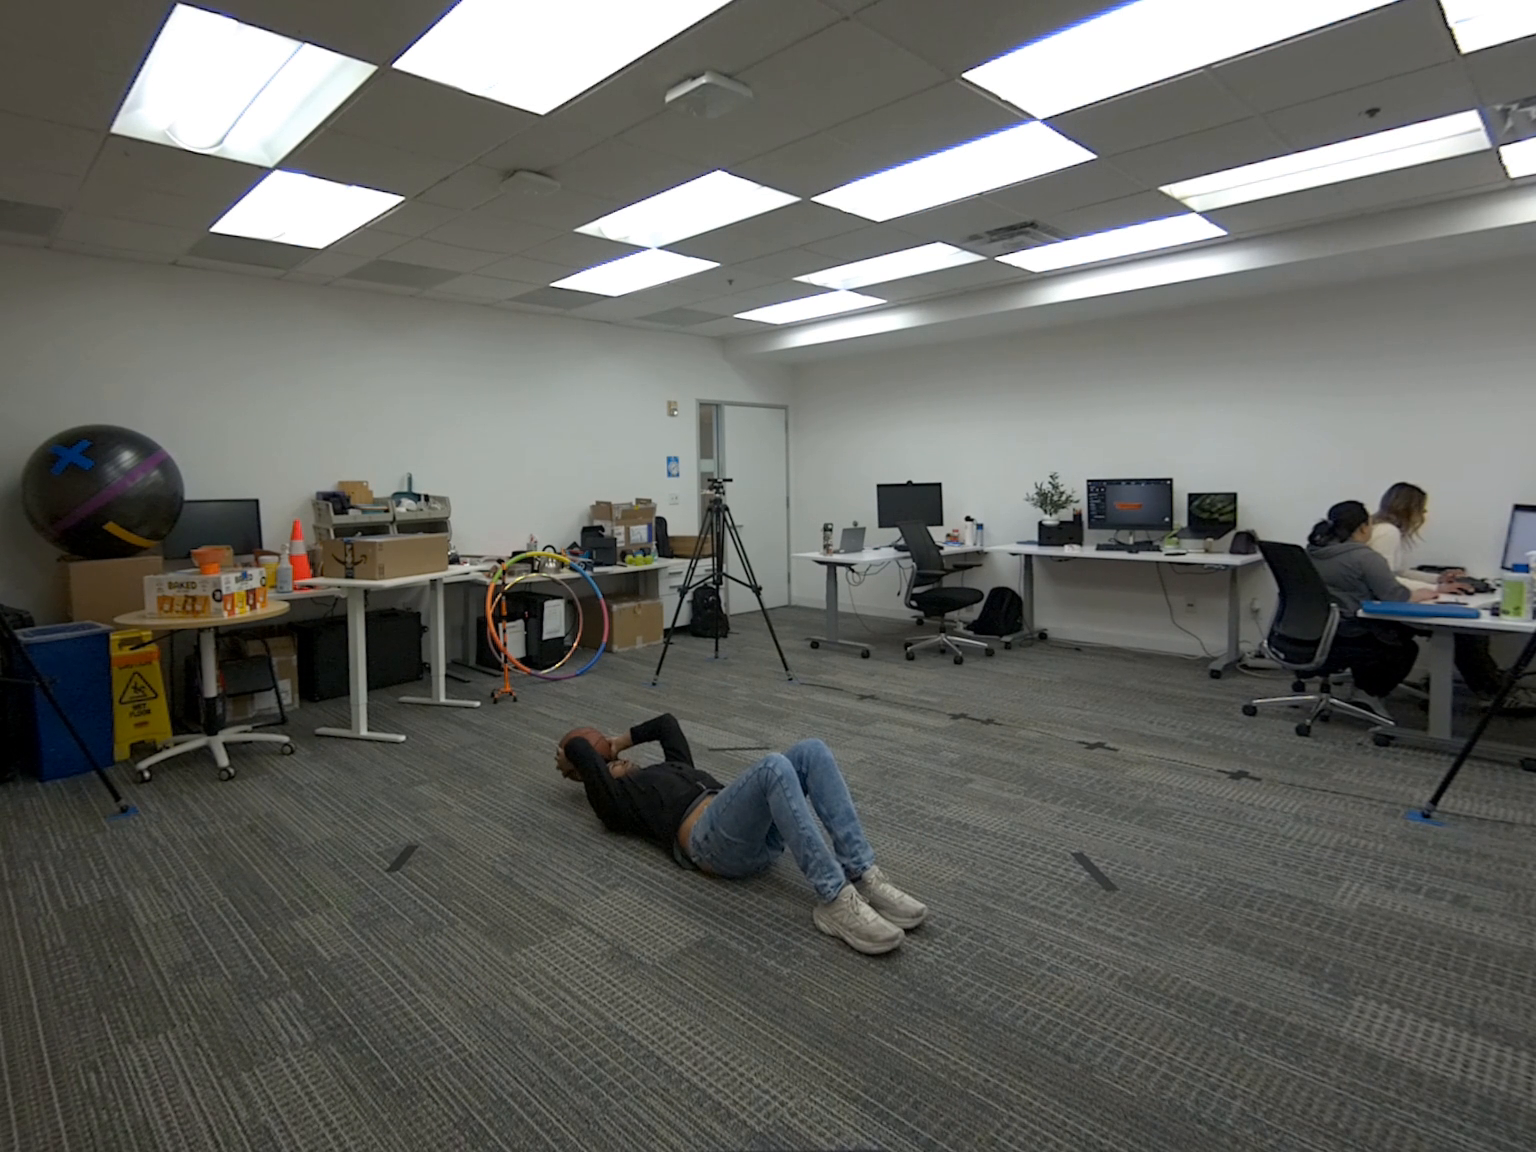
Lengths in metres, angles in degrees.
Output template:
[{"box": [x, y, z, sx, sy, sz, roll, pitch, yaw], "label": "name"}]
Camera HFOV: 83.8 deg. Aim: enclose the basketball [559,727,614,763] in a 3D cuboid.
[{"box": [-0.823, 0.798, 3.834, 0.236, 0.235, 0.237, -1, 5, -2], "label": "basketball"}]
